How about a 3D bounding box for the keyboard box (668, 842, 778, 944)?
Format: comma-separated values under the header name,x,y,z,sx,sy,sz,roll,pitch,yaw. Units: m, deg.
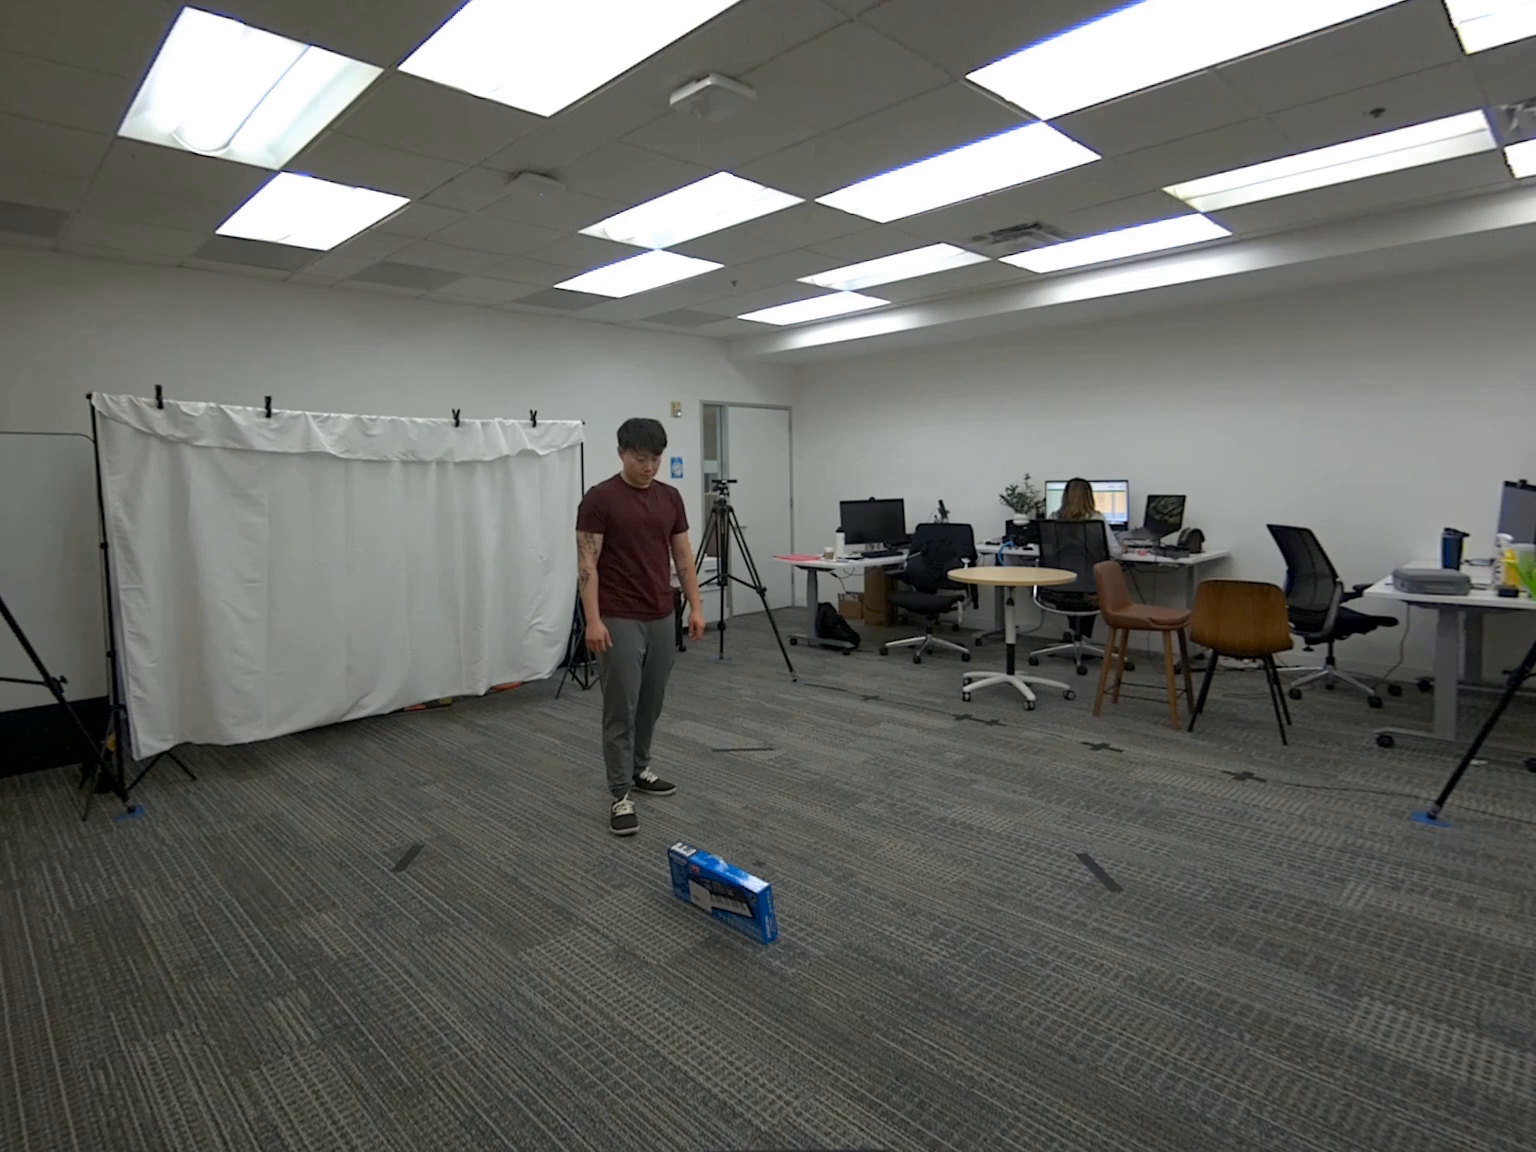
name,x,y,z,sx,sy,sz,roll,pitch,yaw
keyboard box,-0.149,1.007,2.732,0.058,0.174,0.450,-16,15,-42
